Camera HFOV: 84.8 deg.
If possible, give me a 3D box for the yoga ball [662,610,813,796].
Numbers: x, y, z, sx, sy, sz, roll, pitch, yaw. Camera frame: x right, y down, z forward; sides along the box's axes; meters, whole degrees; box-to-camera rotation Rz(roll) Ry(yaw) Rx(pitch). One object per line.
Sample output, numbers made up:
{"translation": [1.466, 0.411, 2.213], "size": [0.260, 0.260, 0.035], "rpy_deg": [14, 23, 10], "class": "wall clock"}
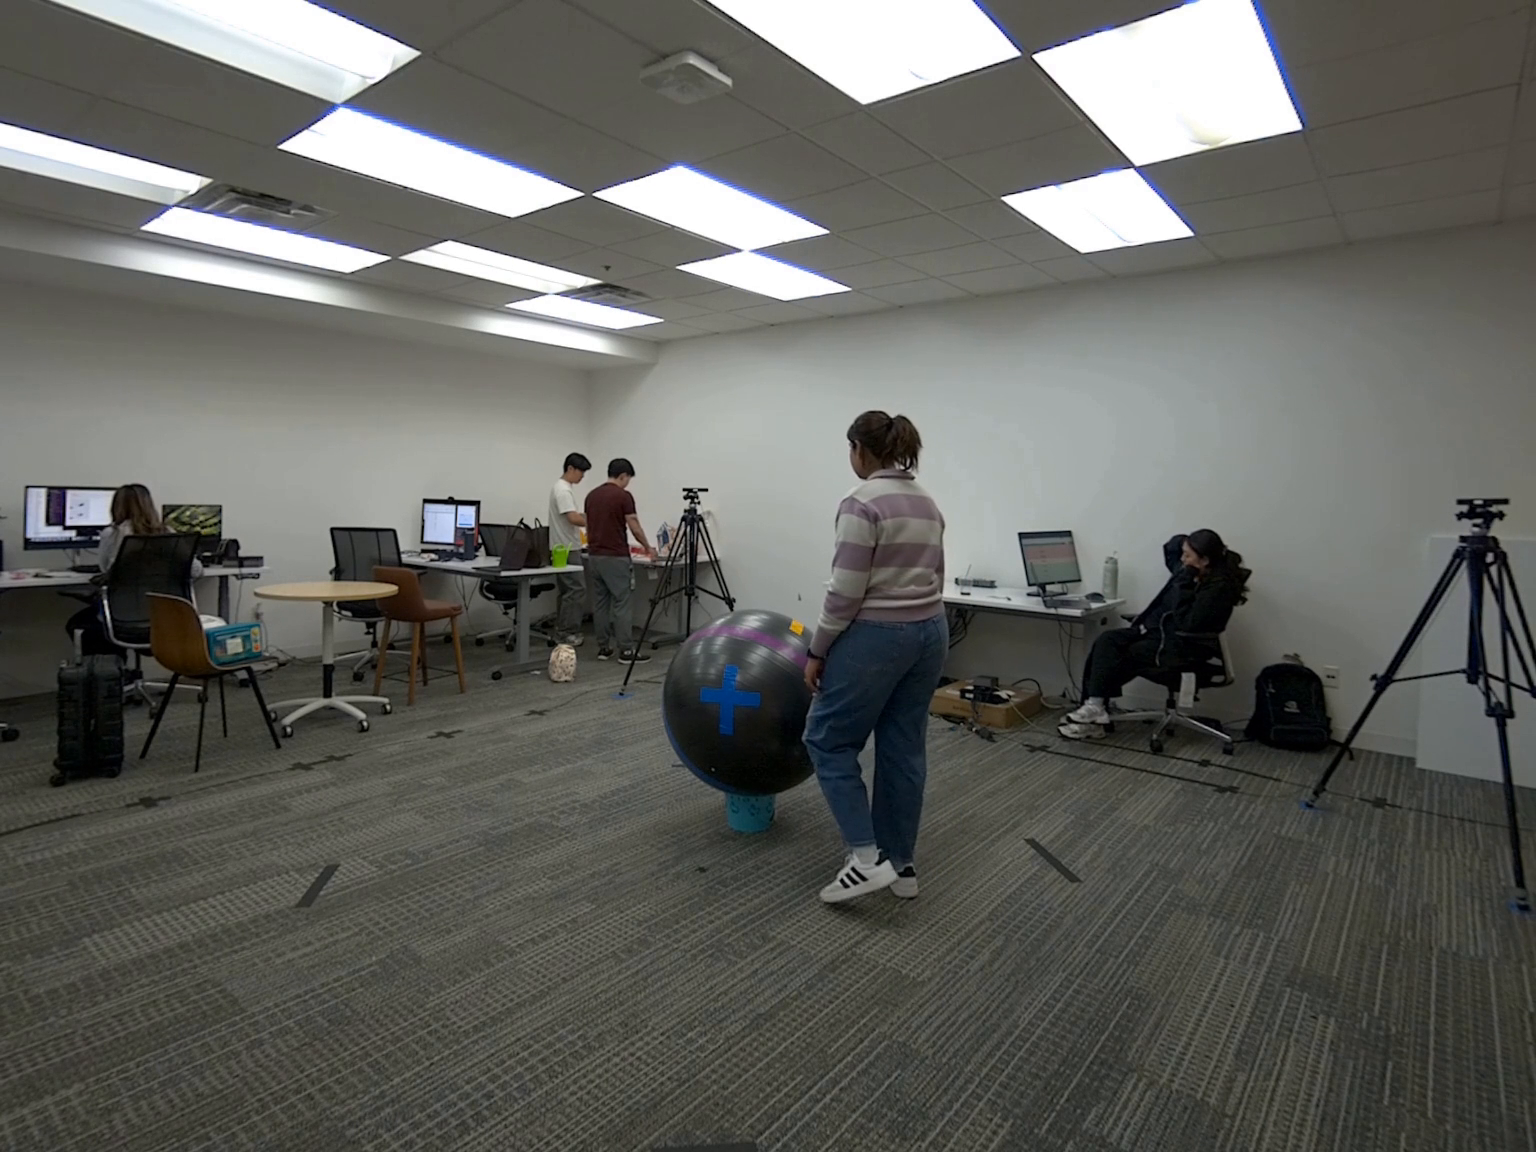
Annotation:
{"translation": [-0.076, 0.519, 3.535], "size": [0.757, 0.756, 0.761], "rpy_deg": [1, 4, -2], "class": "yoga ball"}
